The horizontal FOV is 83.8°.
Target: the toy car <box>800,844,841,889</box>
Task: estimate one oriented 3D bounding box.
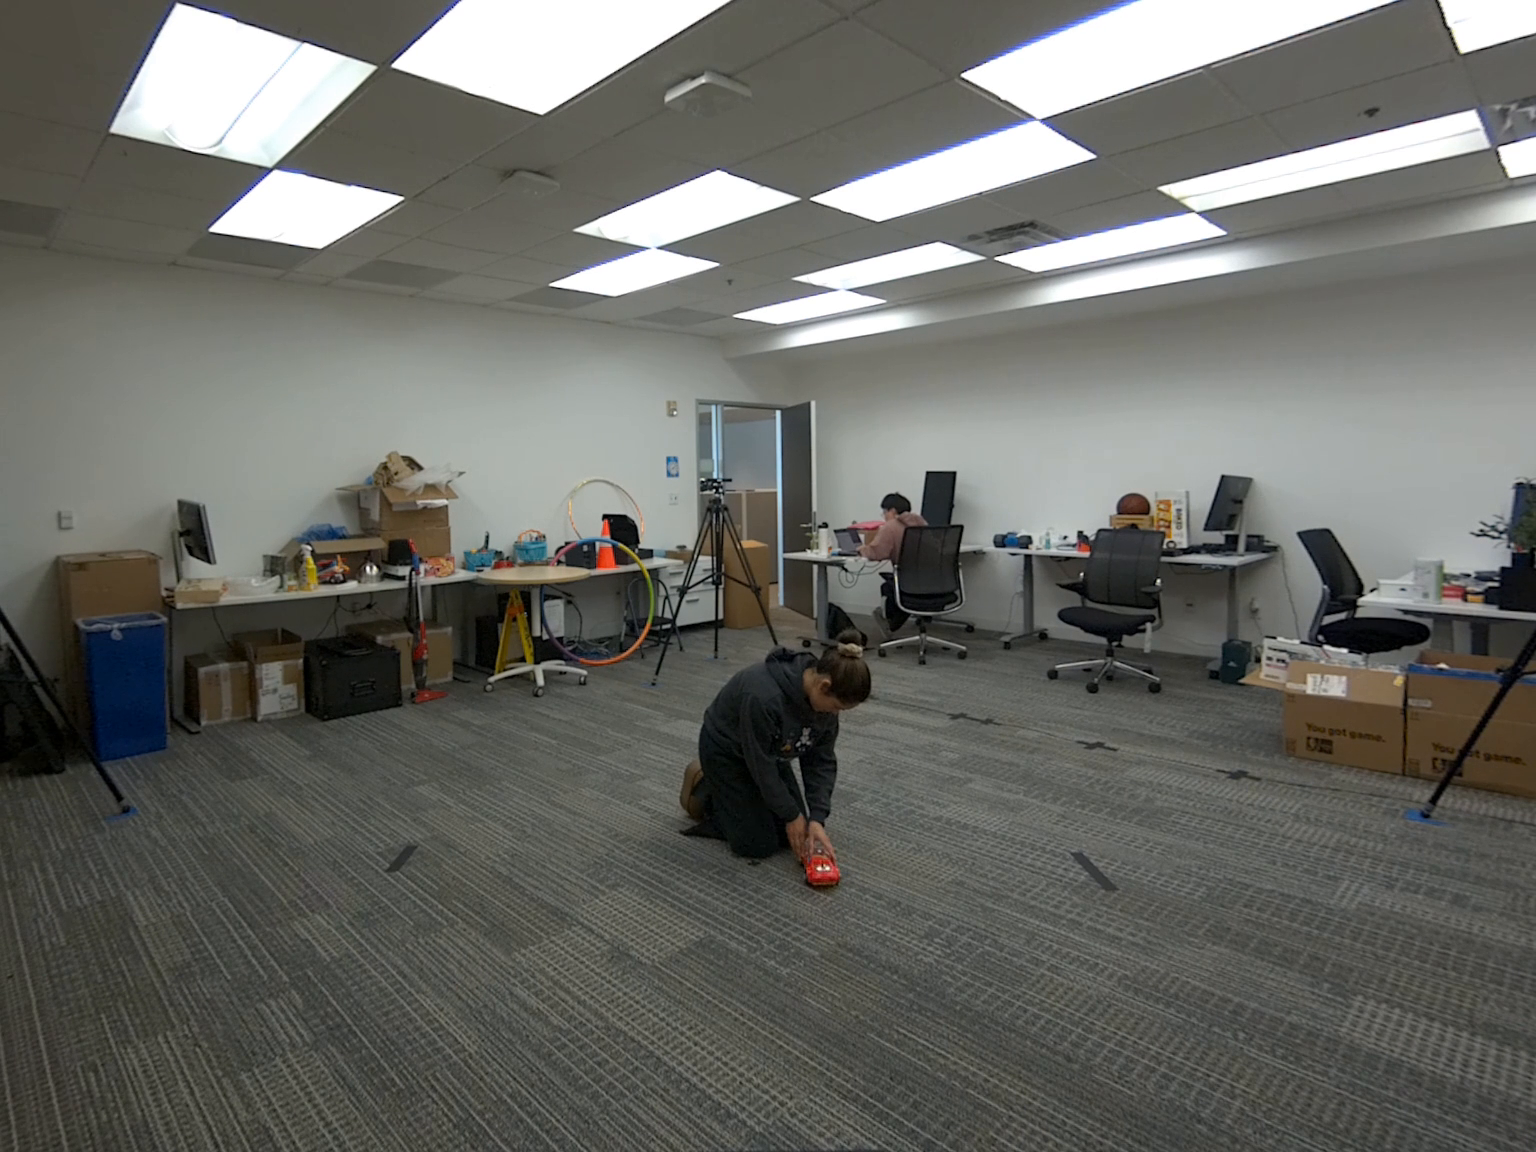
[{"bbox_3d":[0.180,1.026,2.969,0.130,0.084,0.253,-2,-7,-4],"label":"toy car"}]
